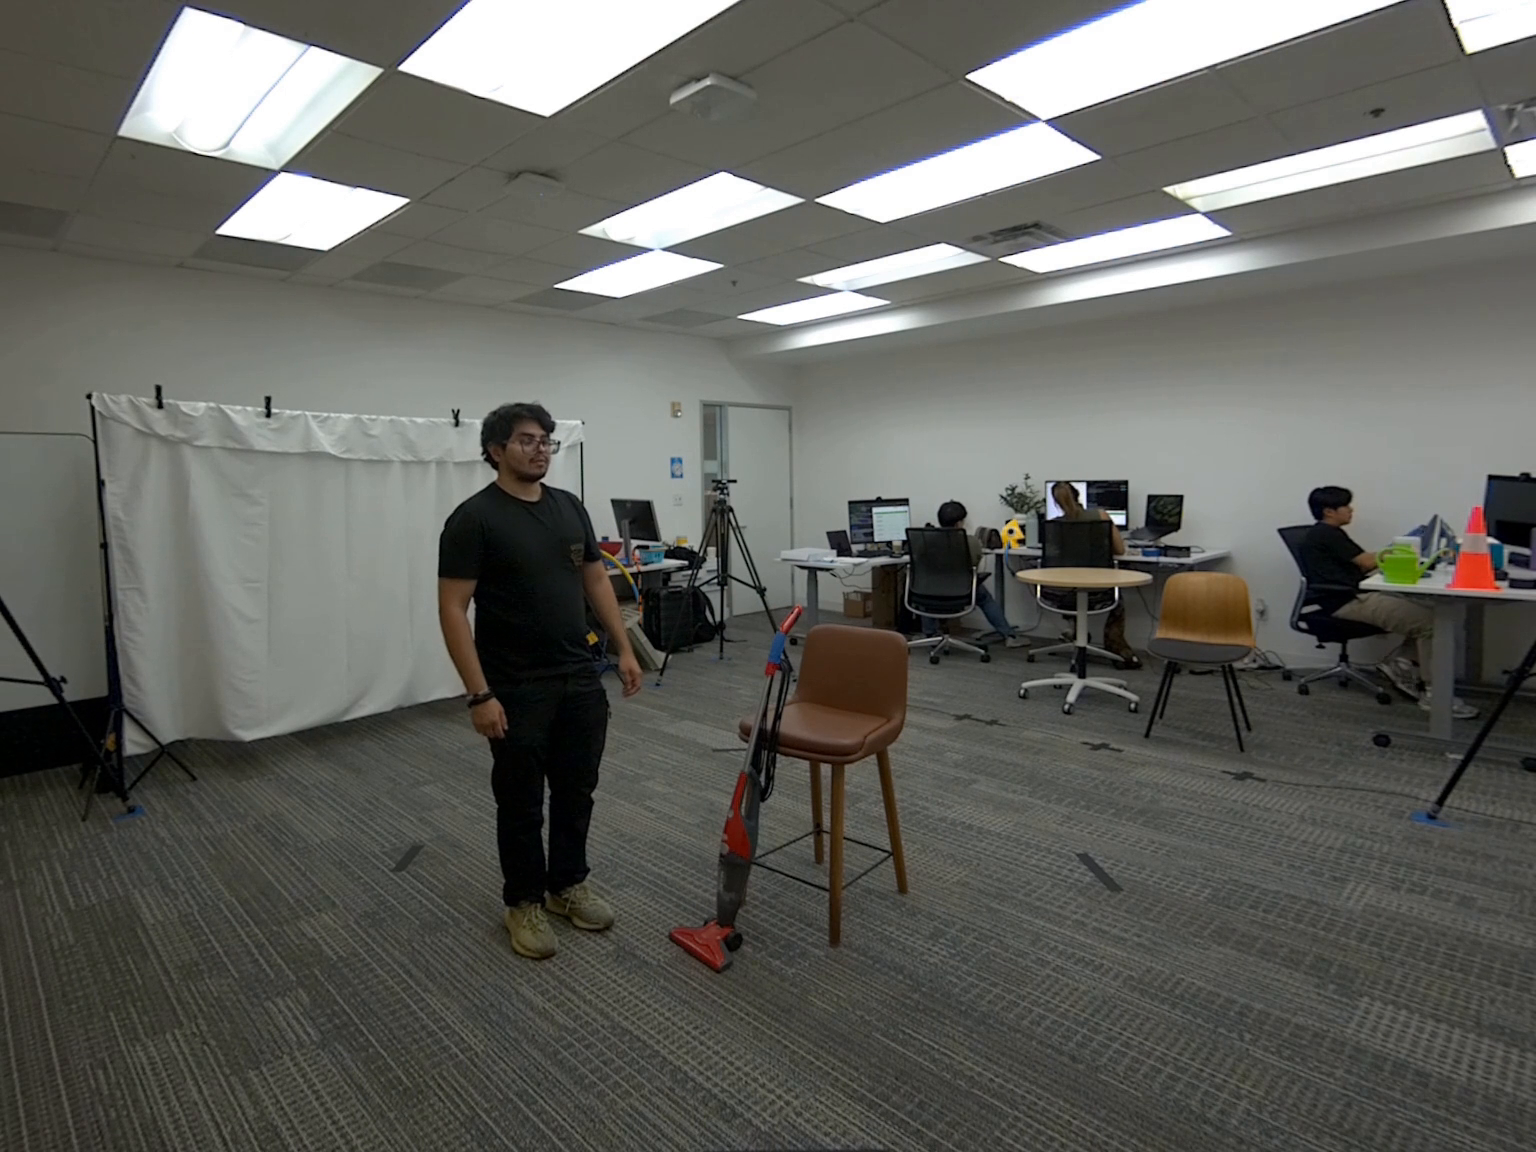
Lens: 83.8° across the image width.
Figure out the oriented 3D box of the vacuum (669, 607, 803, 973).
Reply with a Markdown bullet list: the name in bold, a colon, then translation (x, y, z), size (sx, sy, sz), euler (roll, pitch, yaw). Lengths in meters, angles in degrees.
- **vacuum**: translation (-0.048, 0.610, 2.642), size (0.139, 1.057, 0.260), euler (22, -14, -38)
